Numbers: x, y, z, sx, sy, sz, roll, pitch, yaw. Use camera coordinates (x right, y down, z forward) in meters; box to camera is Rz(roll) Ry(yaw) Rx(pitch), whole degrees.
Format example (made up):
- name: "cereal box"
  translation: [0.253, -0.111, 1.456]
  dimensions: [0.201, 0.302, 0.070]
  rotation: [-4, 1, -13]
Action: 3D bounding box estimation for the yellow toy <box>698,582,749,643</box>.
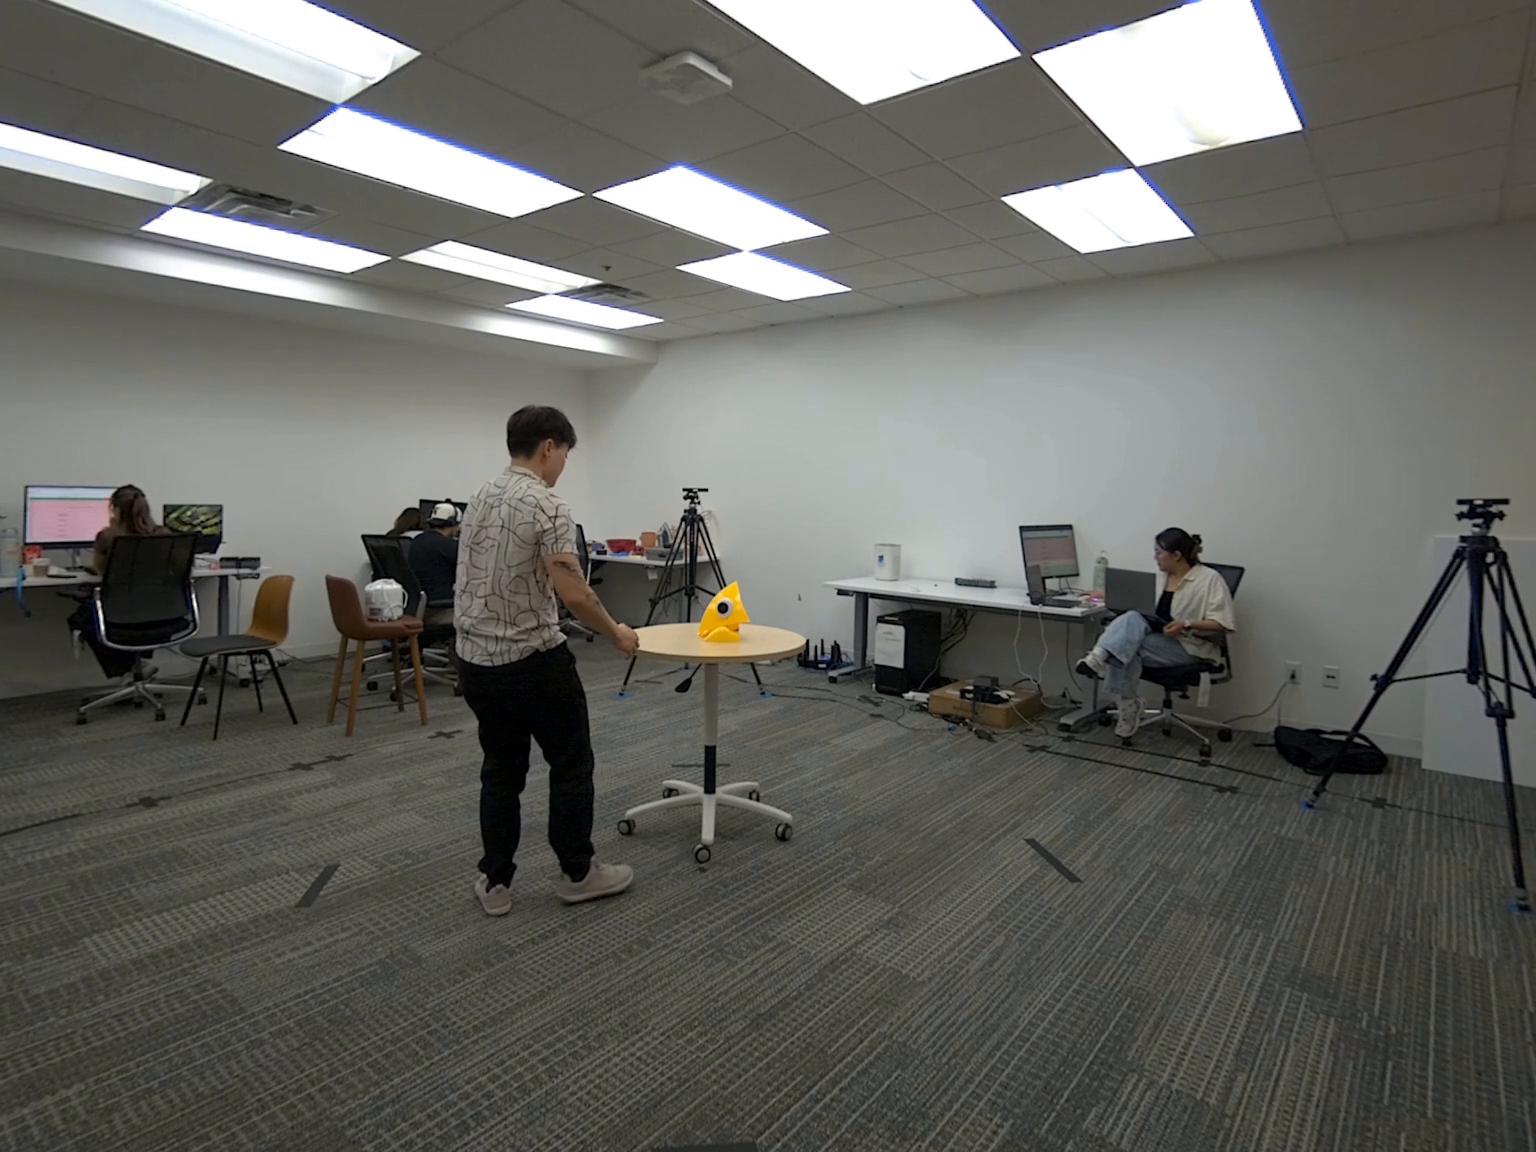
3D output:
- name: "yellow toy"
  translation: [-0.198, 0.134, 3.485]
  dimensions: [0.190, 0.230, 0.209]
  rotation: [0, 4, -16]
